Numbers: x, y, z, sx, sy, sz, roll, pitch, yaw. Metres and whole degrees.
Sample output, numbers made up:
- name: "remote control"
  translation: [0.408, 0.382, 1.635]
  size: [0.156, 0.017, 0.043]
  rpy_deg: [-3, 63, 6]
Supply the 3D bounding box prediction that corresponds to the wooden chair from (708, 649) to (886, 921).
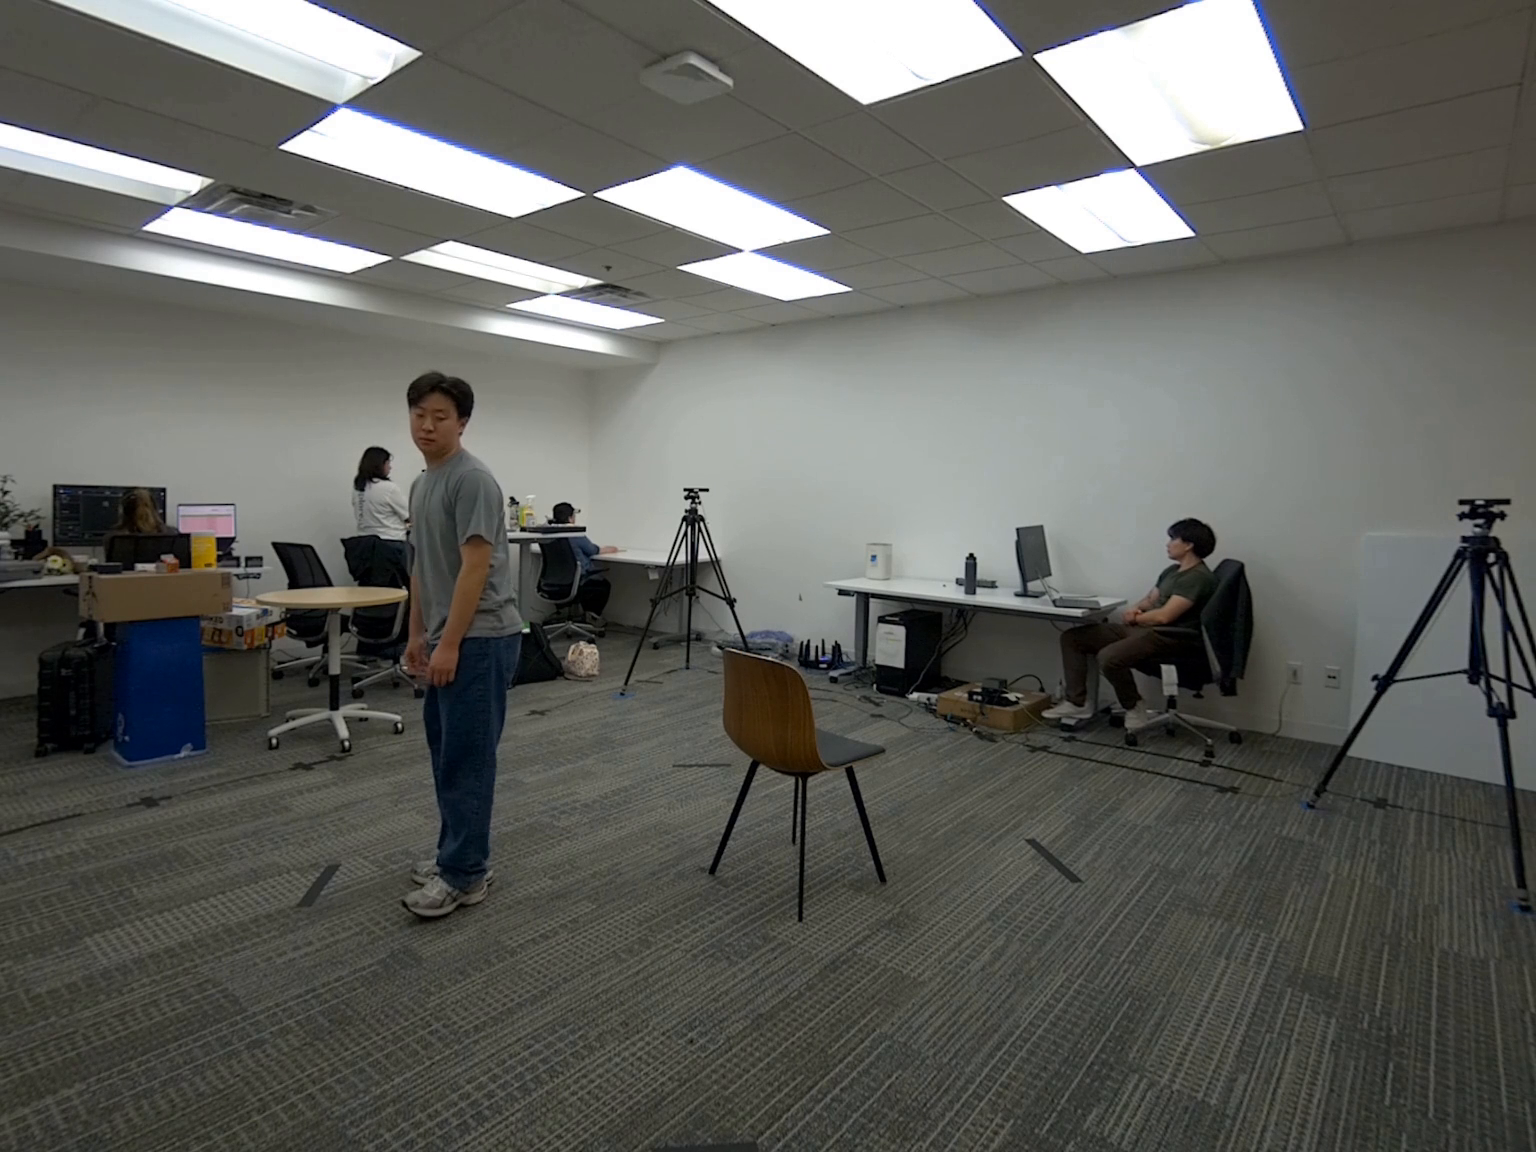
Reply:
- name: "wooden chair"
  translation: [0.110, 0.660, 3.028]
  size: [0.509, 0.872, 0.494]
  rpy_deg: [-8, 8, -43]
